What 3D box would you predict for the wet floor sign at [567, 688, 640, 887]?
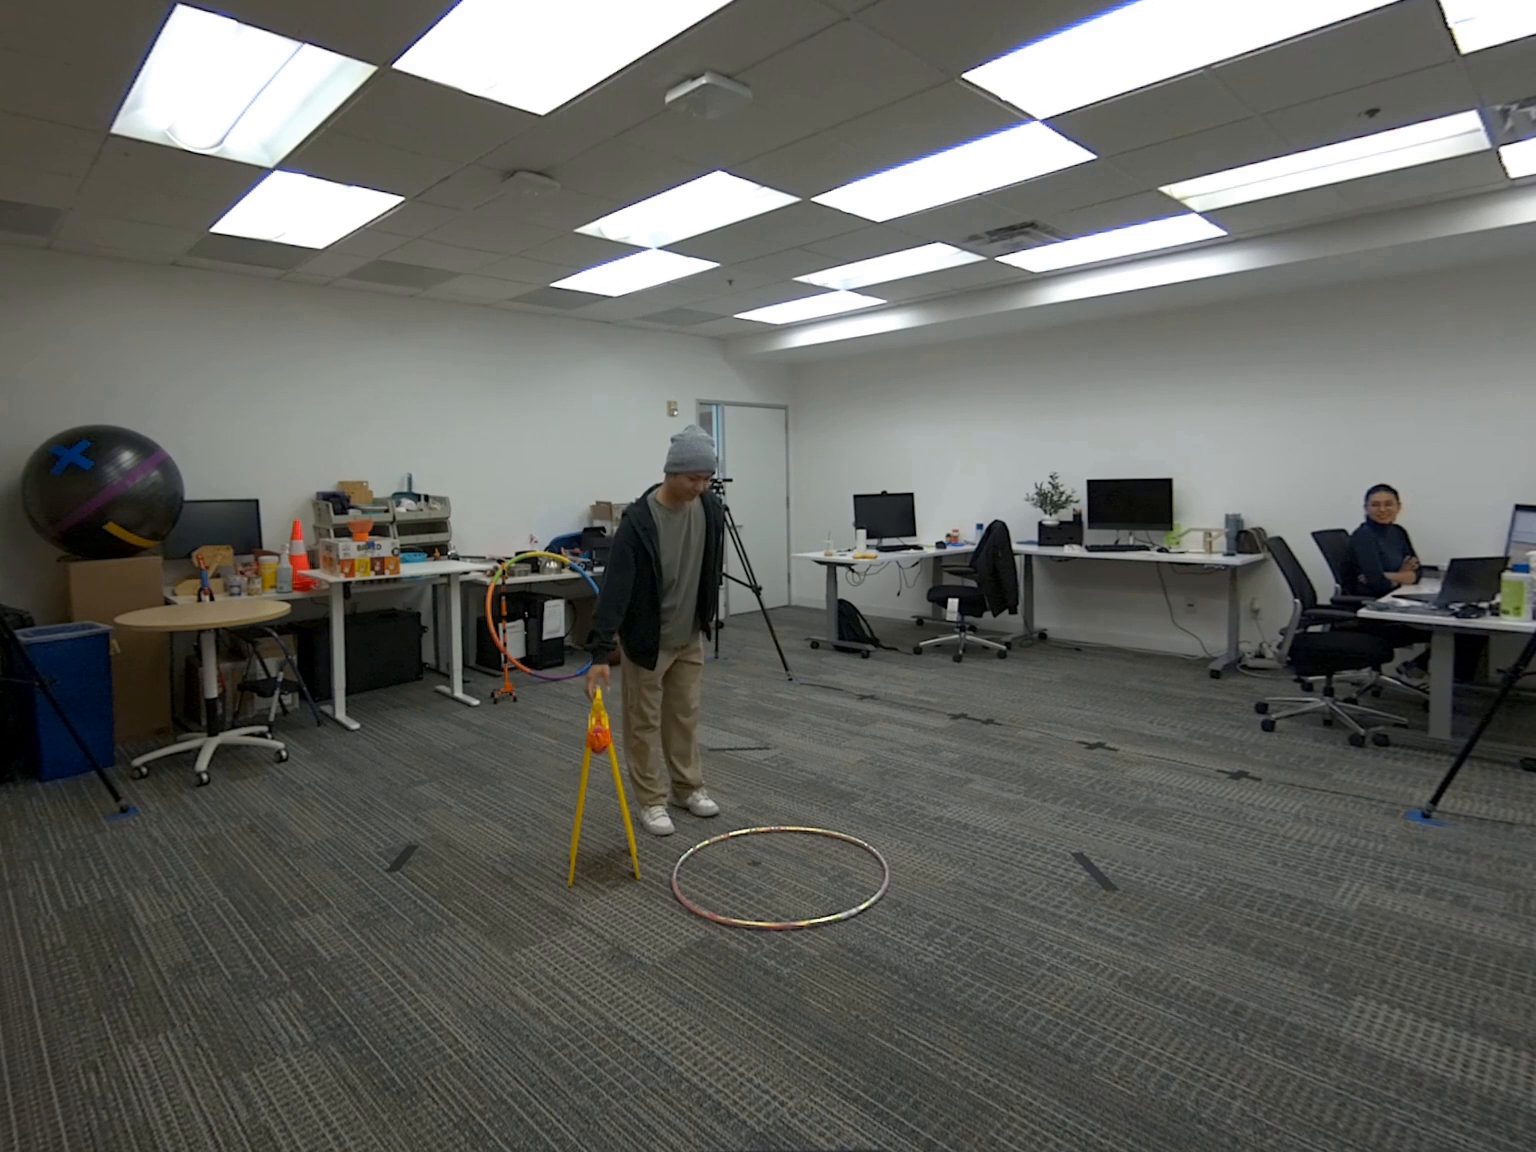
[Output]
[{"bbox_3d":[-0.604,0.734,3.083,0.287,0.644,0.286,-1,4,-10],"label":"wet floor sign"}]
